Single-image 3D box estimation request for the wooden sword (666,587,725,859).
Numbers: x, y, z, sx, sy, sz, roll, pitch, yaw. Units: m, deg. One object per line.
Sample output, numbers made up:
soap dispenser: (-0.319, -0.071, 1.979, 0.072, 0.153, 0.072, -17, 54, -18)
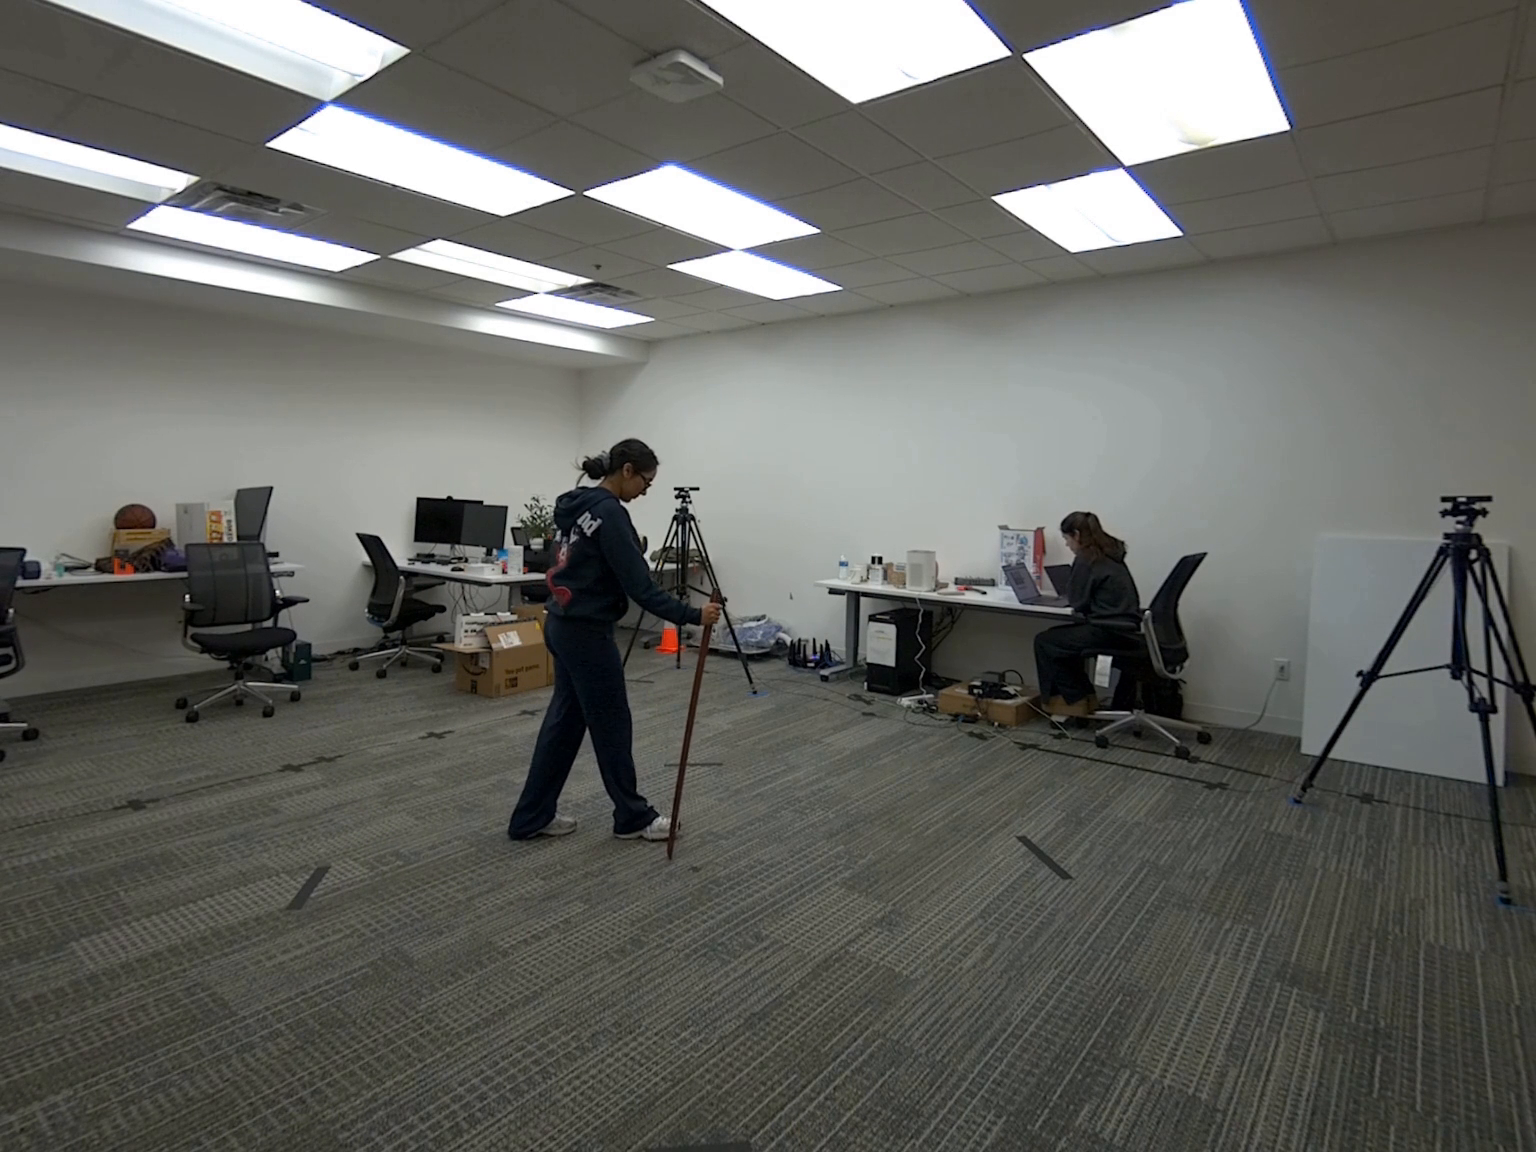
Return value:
wooden sword: (-0.303, 0.563, 3.207, 0.053, 1.026, 0.023, 10, -2, 32)
